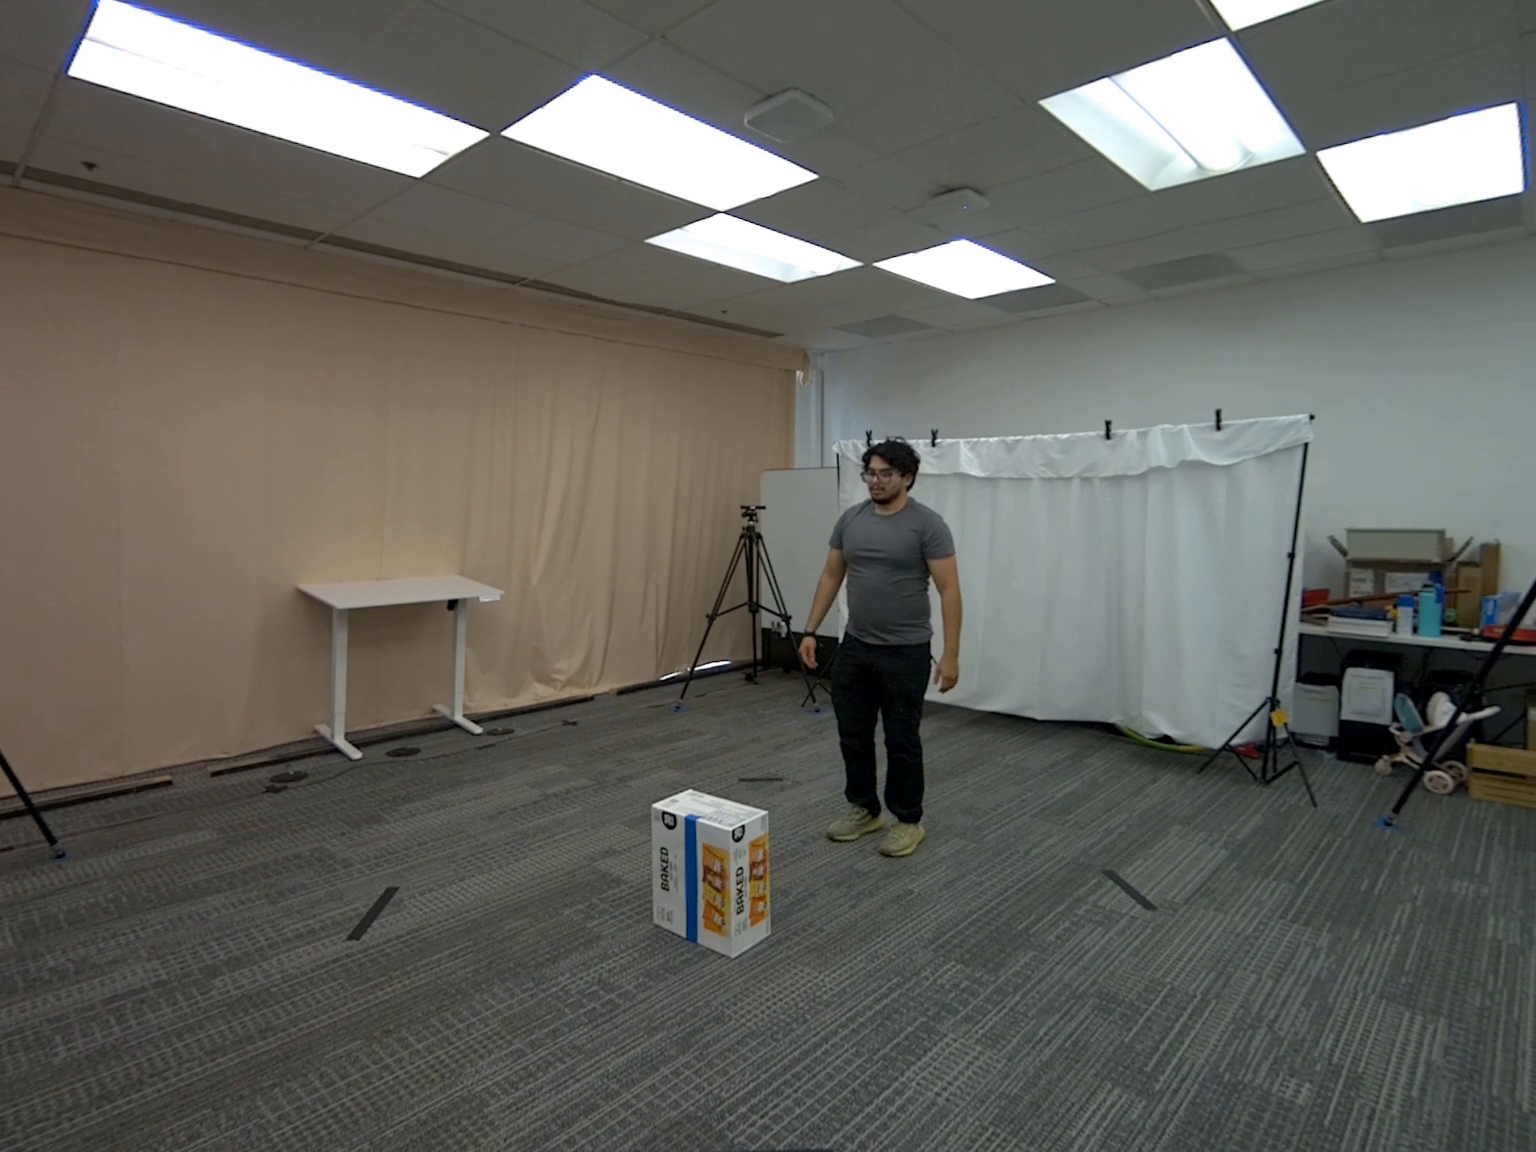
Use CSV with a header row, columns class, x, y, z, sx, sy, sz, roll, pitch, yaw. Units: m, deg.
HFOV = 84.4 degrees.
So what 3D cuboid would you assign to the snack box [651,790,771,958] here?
class,x,y,z,sx,sy,sz,roll,pitch,yaw
snack box,-0.184,0.960,2.758,0.351,0.404,0.199,2,4,38
